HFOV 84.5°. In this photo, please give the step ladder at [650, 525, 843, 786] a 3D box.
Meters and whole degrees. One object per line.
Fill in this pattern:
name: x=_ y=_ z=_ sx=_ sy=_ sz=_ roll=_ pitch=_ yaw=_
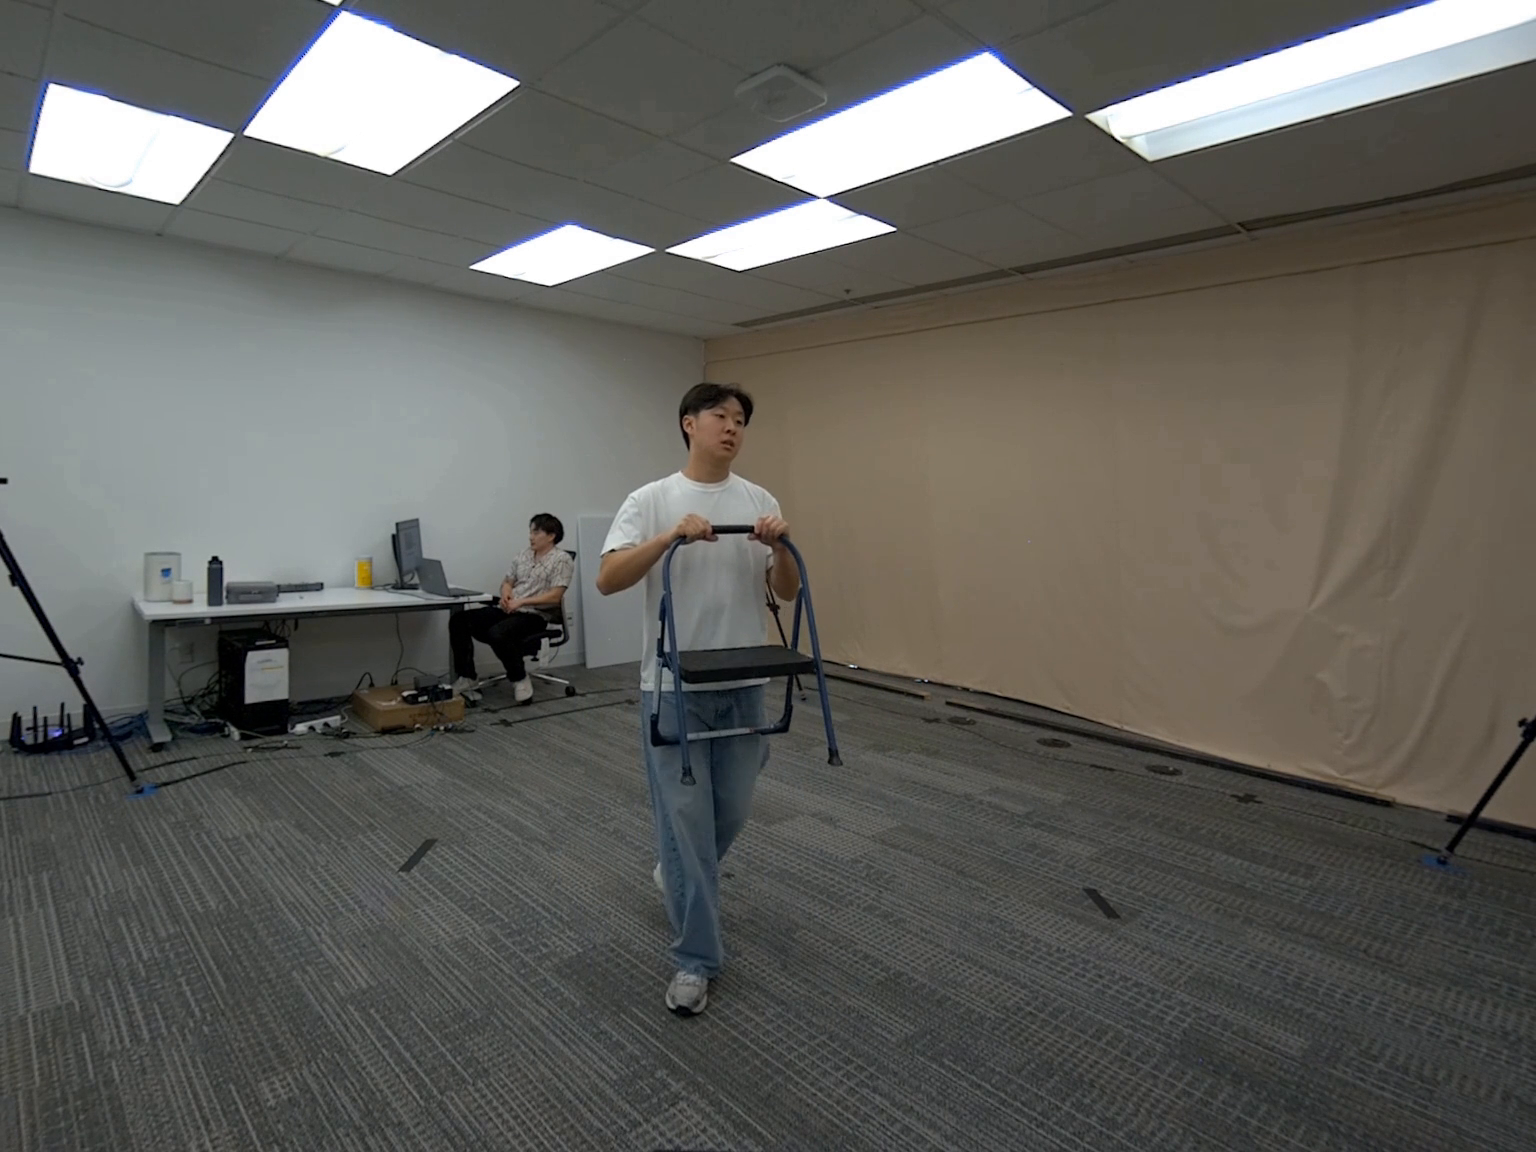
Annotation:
step ladder: x=-0.074 y=0.178 z=2.207 sx=0.424 sy=0.605 sz=0.355 roll=-2 pitch=3 yaw=-20
